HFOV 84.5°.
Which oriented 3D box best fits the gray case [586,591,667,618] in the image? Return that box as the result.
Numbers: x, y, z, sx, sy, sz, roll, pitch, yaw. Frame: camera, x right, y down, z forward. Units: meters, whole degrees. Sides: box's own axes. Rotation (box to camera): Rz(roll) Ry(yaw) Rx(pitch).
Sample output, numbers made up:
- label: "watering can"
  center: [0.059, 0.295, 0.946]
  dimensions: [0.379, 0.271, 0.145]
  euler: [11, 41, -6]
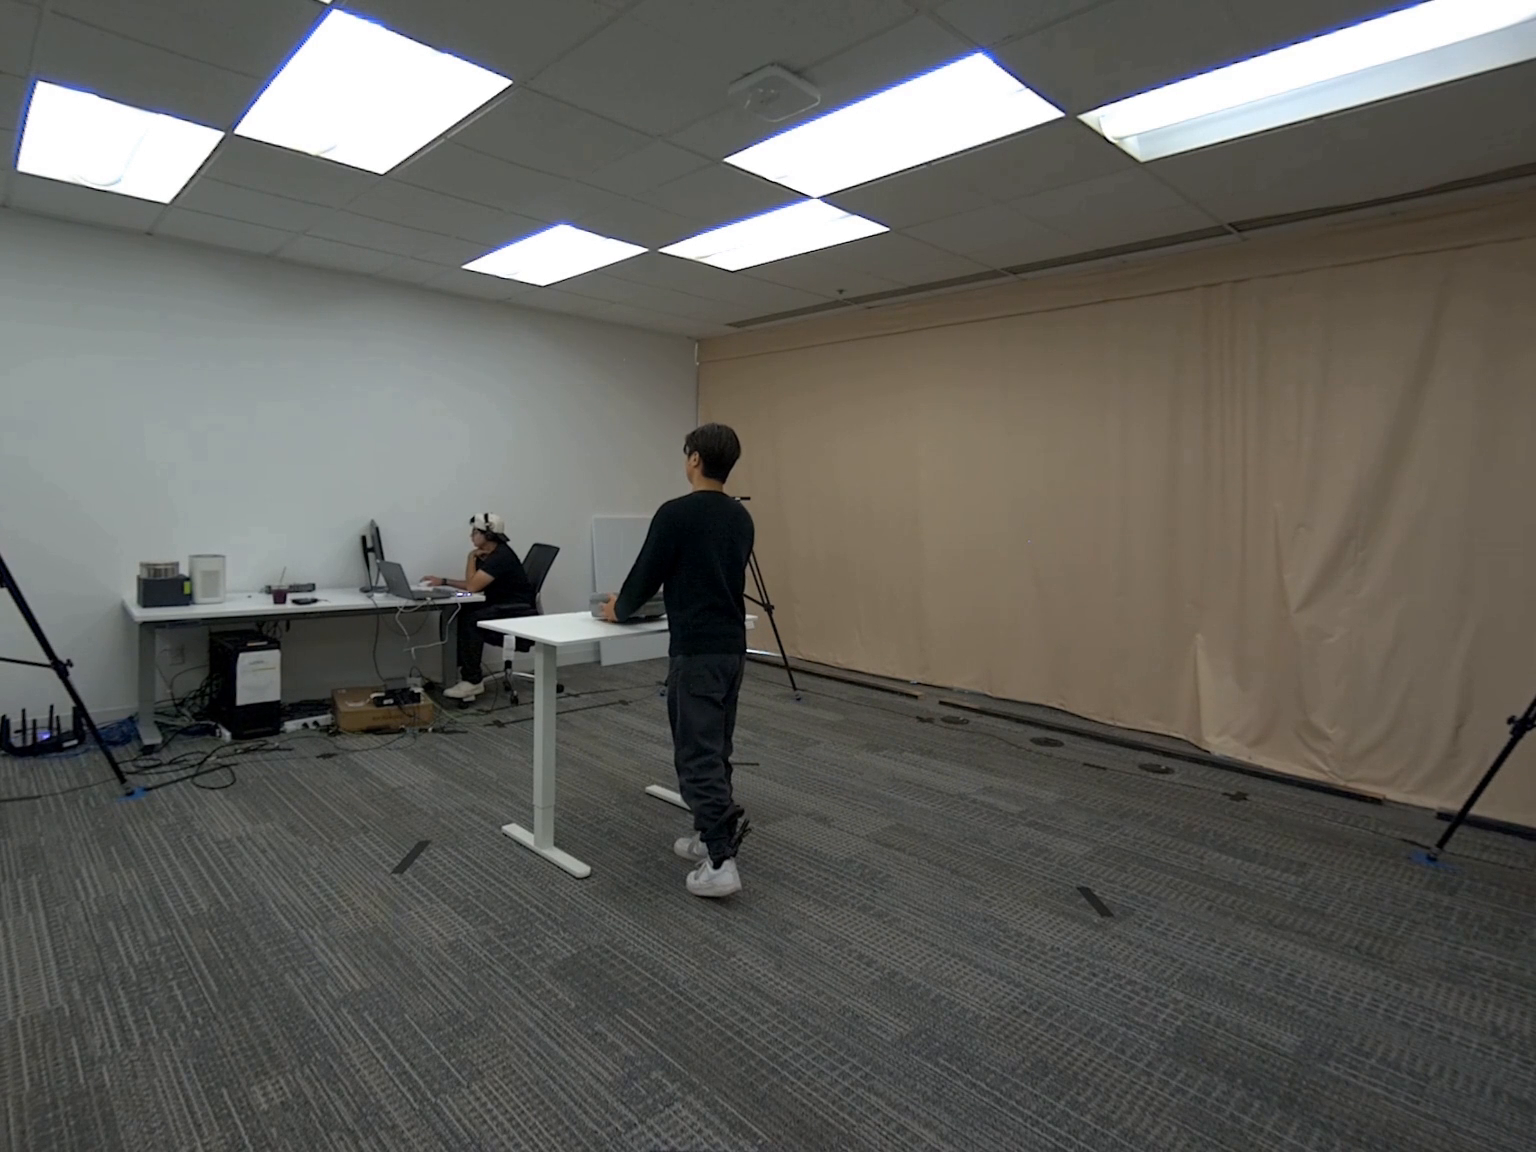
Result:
- label: "gray case"
  center: [-0.561, 0.112, 3.475]
  dimensions: [0.266, 0.104, 0.251]
  euler: [-2, -2, 40]
